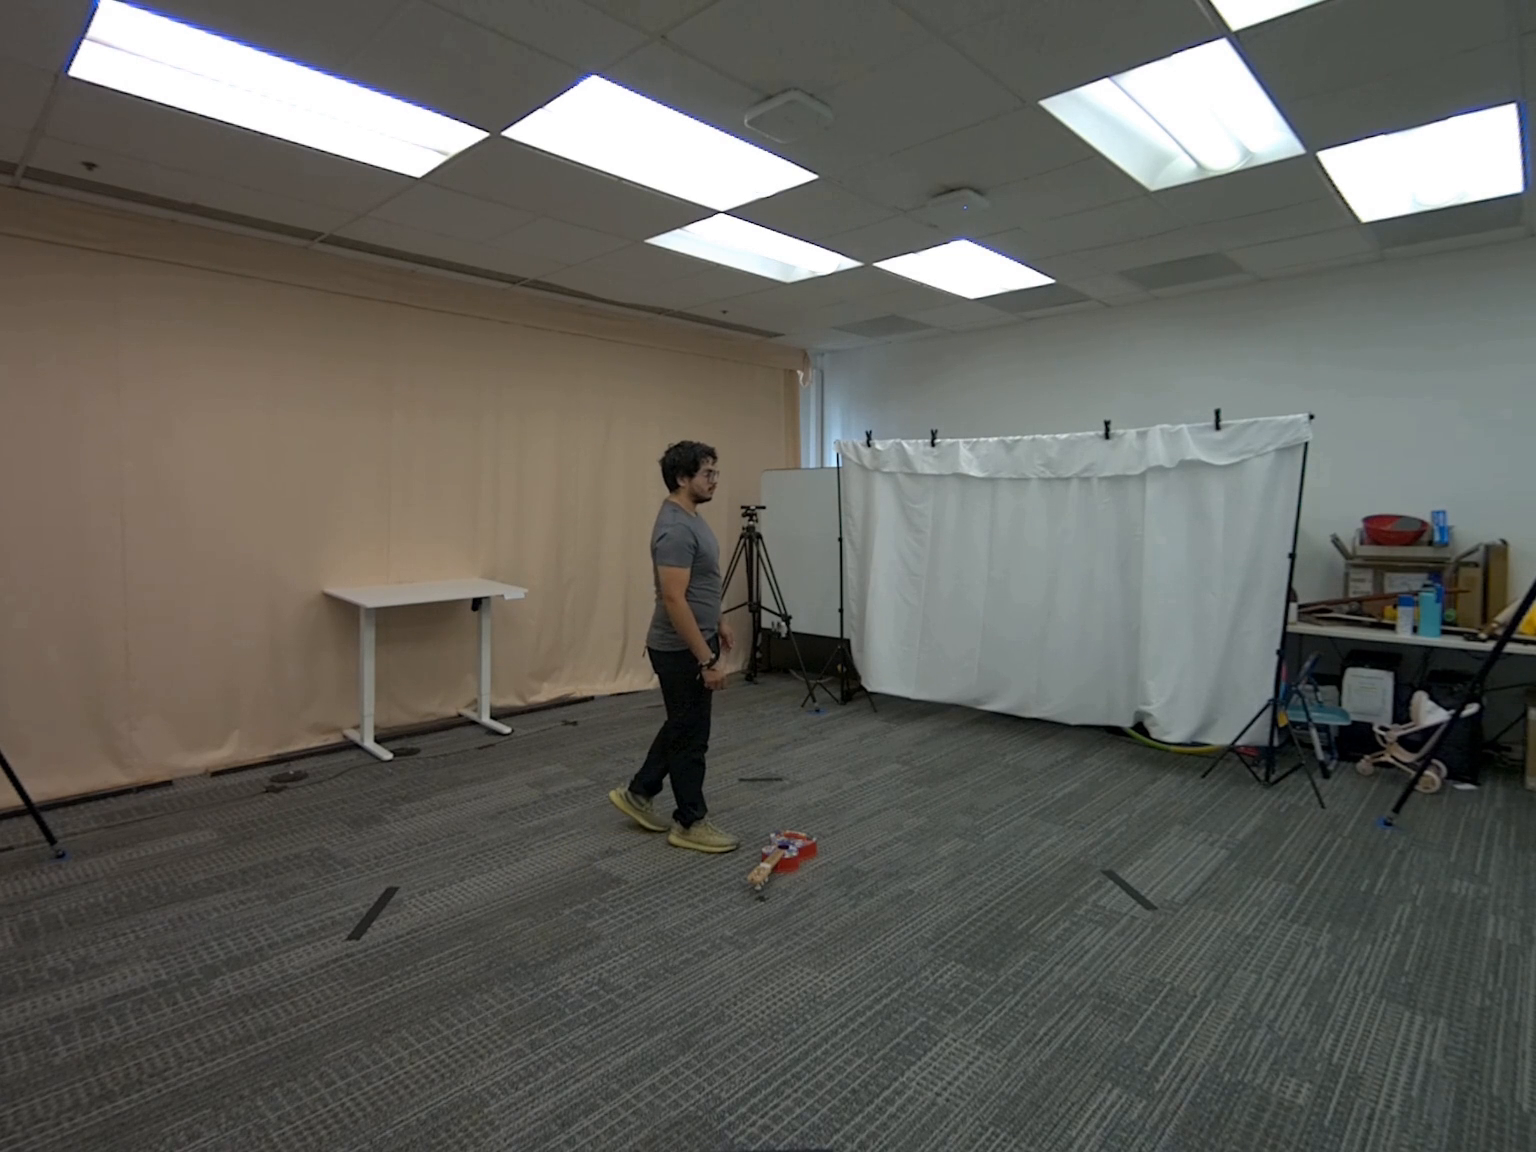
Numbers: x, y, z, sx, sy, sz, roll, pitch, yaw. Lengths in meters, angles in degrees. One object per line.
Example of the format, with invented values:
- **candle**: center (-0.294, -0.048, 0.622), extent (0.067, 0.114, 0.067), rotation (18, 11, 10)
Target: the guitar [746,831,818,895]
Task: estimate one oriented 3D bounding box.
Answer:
- **guitar**: center (0.011, 1.088, 3.233), extent (0.199, 0.070, 0.484), rotation (3, 5, 30)
